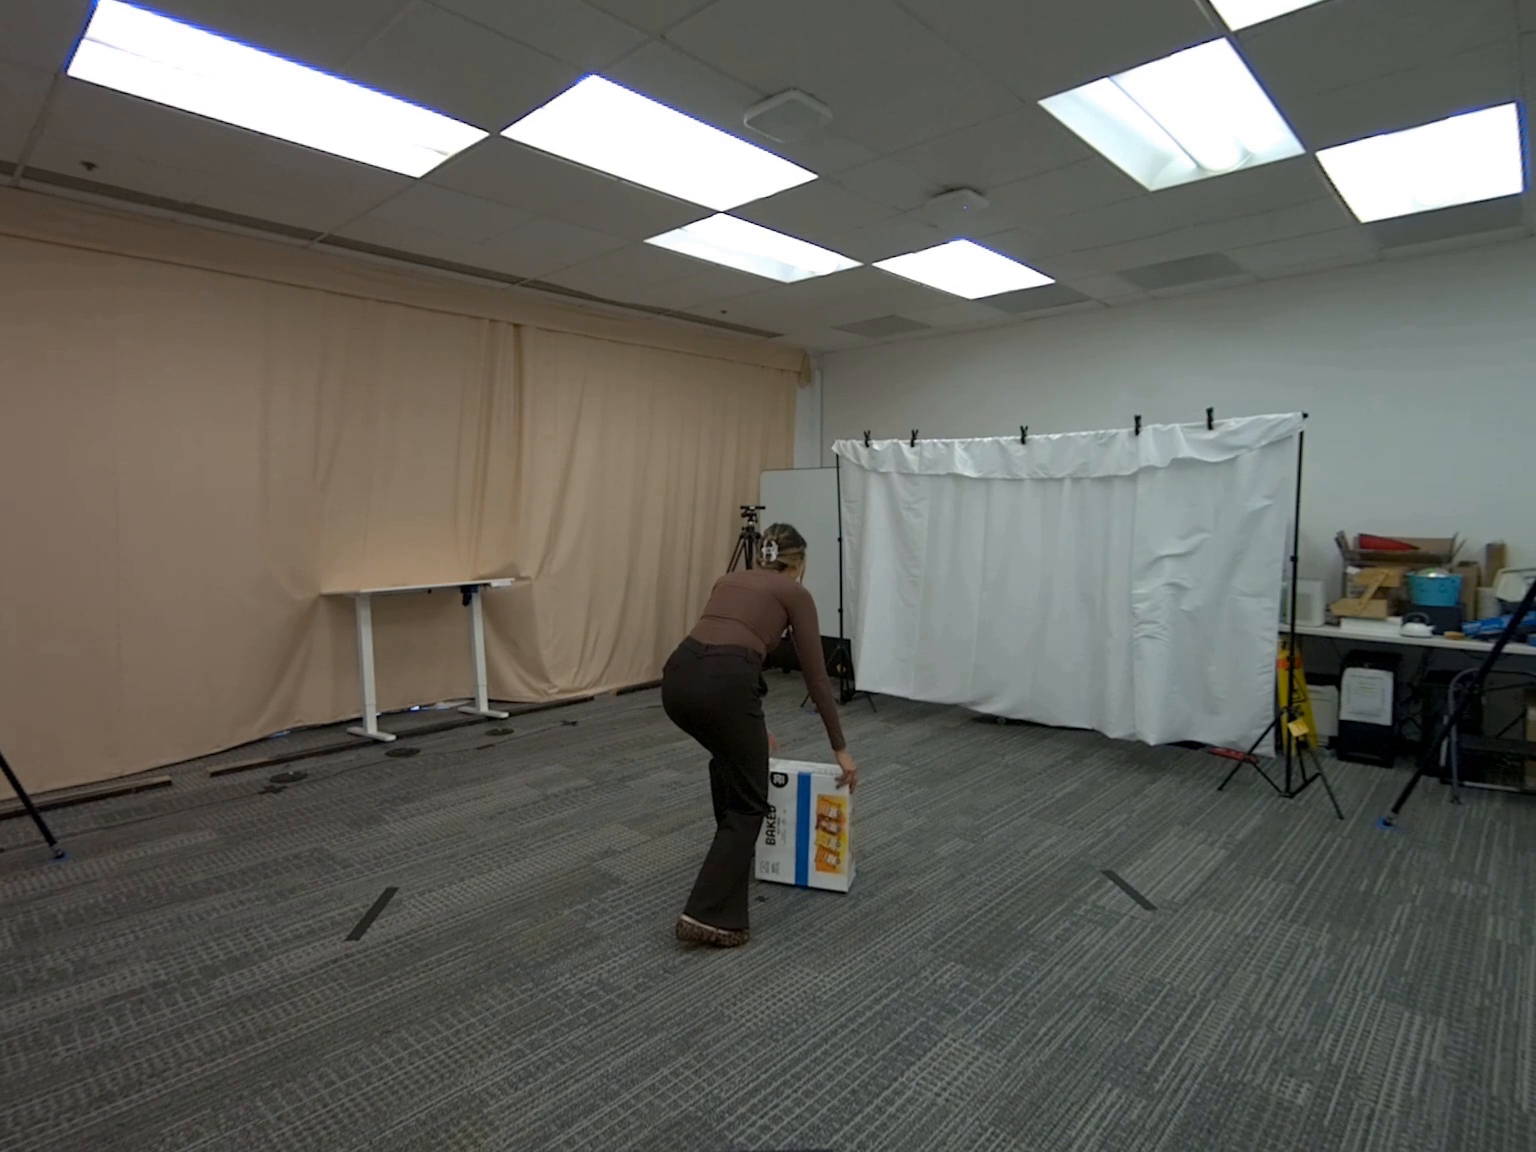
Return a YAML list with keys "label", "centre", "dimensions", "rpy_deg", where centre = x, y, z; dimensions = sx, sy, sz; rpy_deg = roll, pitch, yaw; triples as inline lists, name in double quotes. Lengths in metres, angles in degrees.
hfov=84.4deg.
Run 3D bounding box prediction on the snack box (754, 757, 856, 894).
- label: "snack box"
  centre: [0.152, 0.918, 3.152]
  dimensions: [0.346, 0.405, 0.202]
  rpy_deg: [1, -2, 16]
